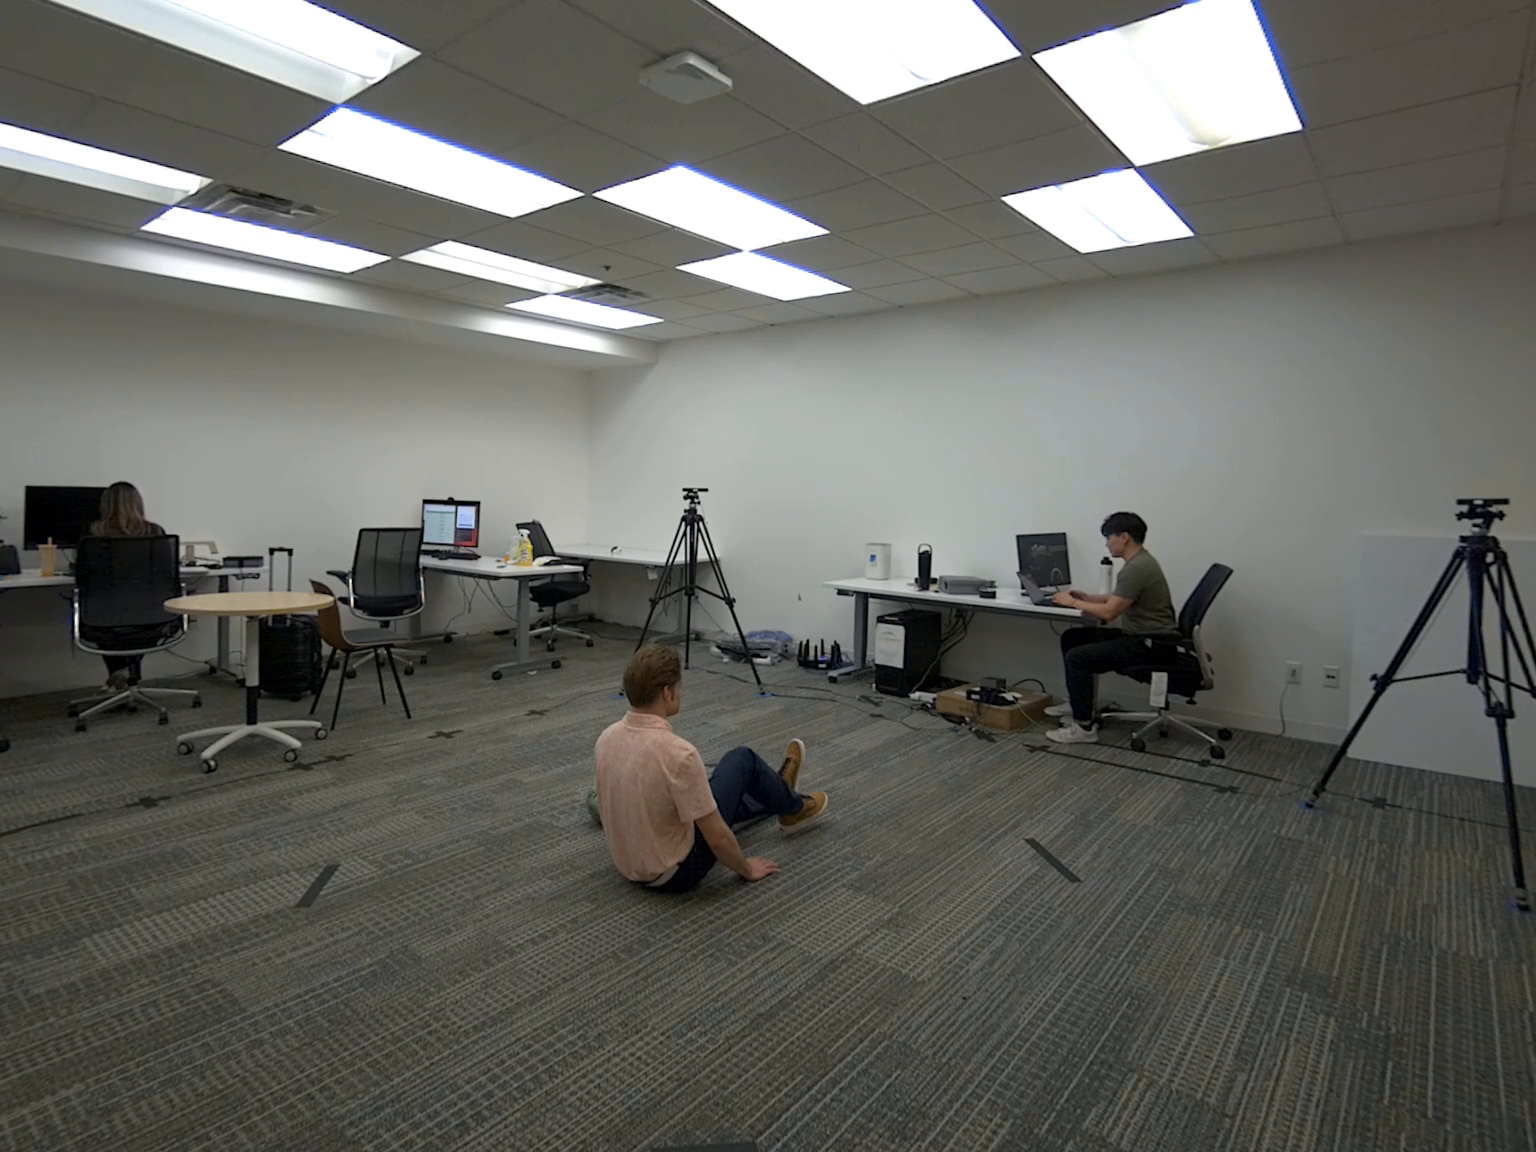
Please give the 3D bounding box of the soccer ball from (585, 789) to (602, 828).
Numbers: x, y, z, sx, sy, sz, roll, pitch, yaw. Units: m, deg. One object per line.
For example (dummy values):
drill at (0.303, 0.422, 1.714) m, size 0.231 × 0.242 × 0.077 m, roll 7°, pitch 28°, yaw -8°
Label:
soccer ball at (-0.665, 0.923, 3.521) m, size 0.187 × 0.187 × 0.188 m, roll 1°, pitch 4°, yaw -2°
